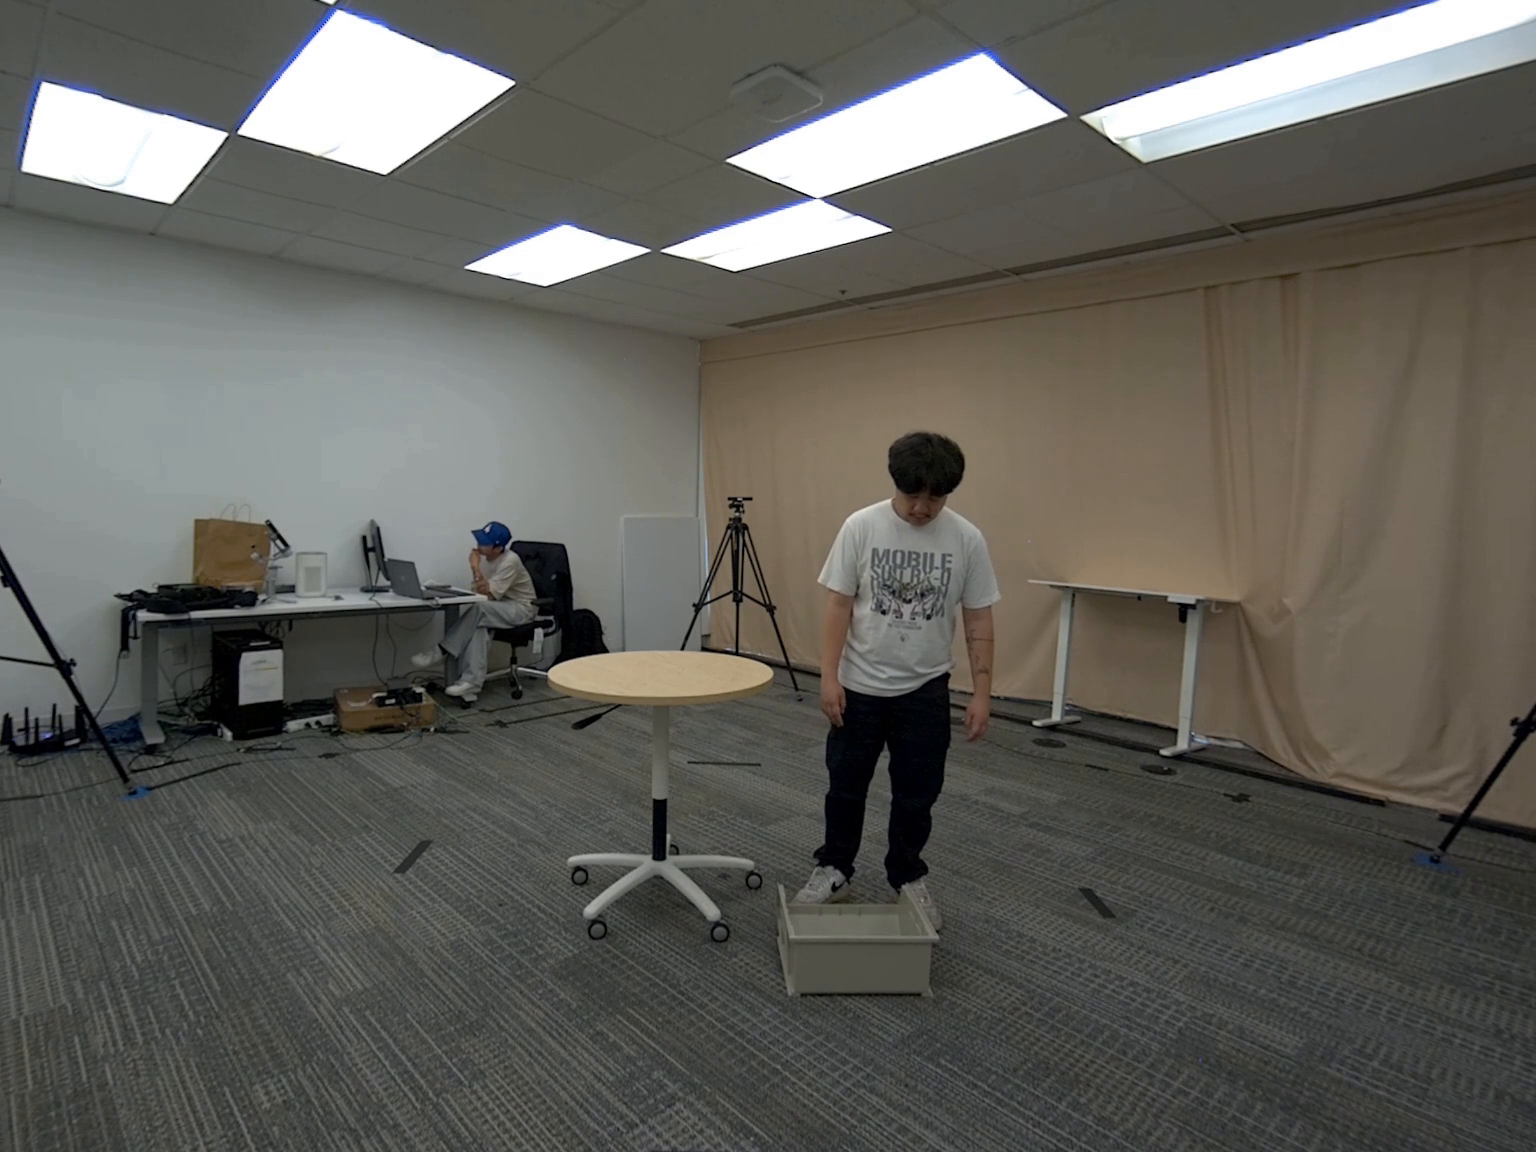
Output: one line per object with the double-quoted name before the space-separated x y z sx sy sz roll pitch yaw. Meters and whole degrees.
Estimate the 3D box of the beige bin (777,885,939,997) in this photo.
"beige bin" 0.243 1.082 2.533 0.421 0.188 0.380 1 5 -5
